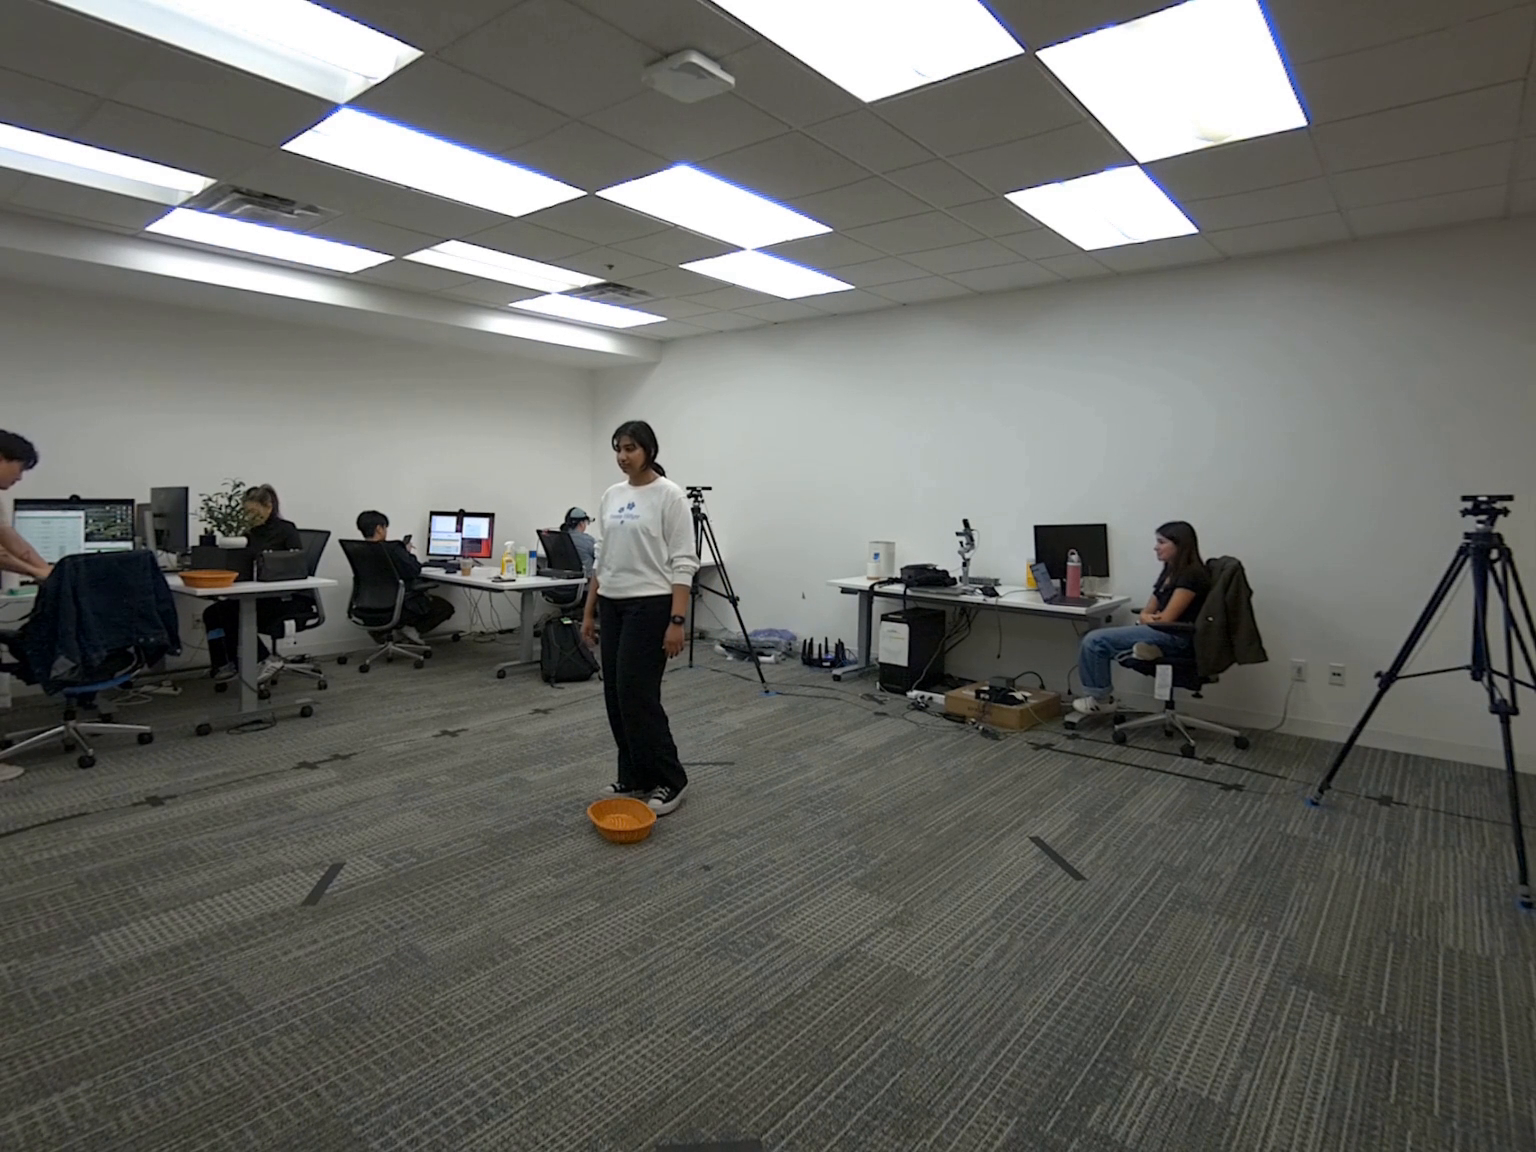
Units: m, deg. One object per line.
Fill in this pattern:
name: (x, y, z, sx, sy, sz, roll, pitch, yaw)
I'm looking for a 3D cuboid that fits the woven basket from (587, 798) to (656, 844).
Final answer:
woven basket: (-0.599, 0.986, 3.442, 0.247, 0.073, 0.360, -2, 7, -23)
